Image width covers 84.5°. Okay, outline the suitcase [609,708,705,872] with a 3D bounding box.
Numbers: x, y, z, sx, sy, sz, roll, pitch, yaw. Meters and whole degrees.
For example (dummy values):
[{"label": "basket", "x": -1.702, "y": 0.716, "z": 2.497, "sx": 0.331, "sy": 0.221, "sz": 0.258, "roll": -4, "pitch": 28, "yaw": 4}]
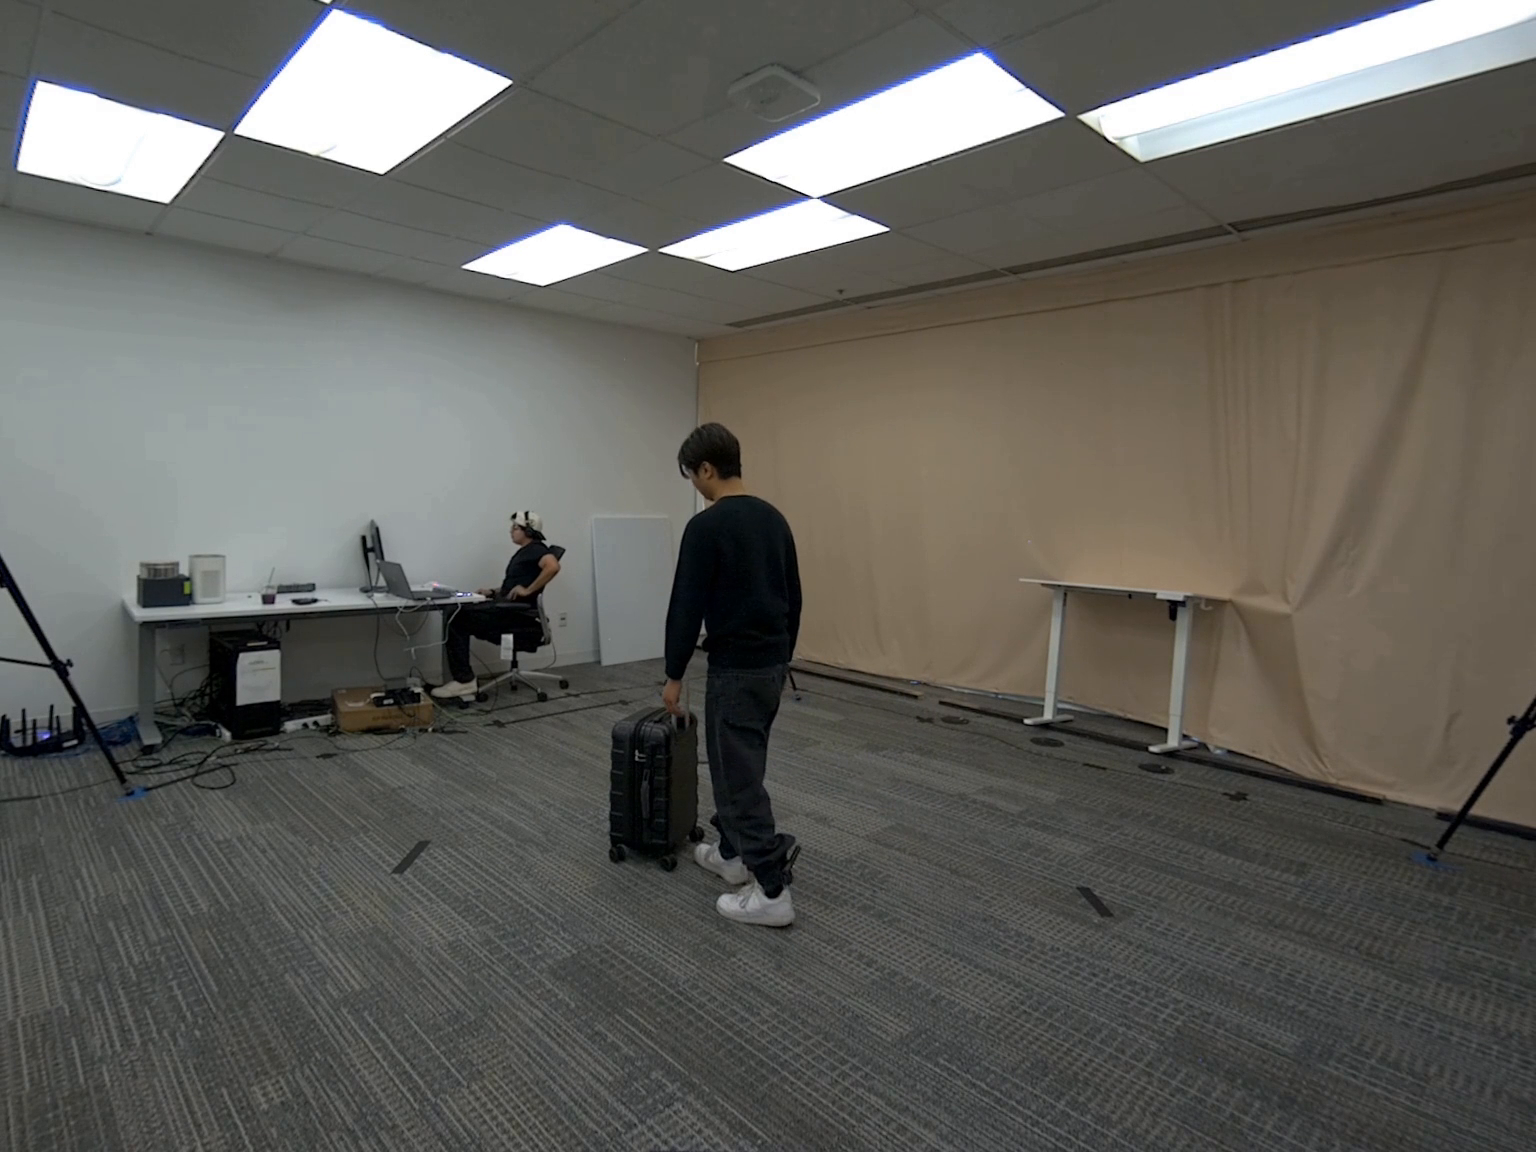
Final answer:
[{"label": "suitcase", "x": -0.458, "y": 0.602, "z": 3.315, "sx": 0.260, "sy": 0.978, "sz": 0.379, "roll": -1, "pitch": 1, "yaw": 16}]
